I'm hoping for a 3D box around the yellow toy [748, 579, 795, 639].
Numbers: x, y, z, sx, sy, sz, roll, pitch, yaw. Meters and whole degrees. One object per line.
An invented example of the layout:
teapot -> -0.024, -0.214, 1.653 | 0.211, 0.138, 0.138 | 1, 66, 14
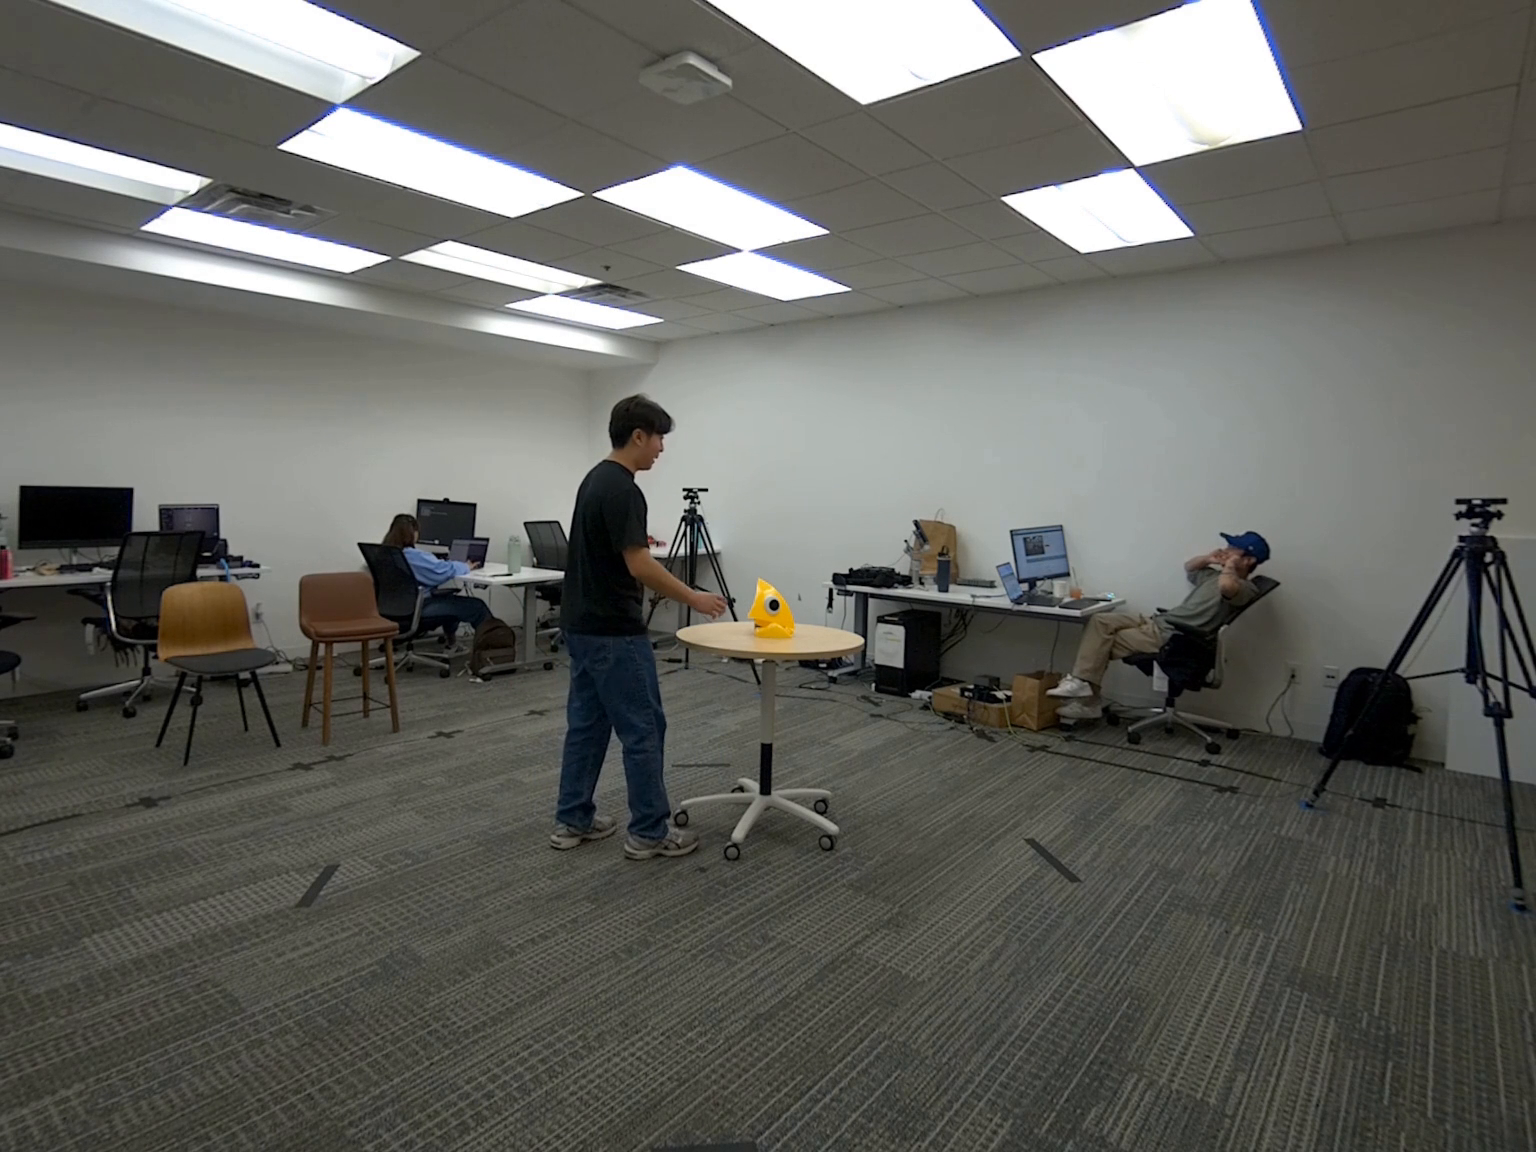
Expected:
yellow toy -> 0.008, 0.126, 3.513 | 0.195, 0.230, 0.204 | 2, 4, 7
